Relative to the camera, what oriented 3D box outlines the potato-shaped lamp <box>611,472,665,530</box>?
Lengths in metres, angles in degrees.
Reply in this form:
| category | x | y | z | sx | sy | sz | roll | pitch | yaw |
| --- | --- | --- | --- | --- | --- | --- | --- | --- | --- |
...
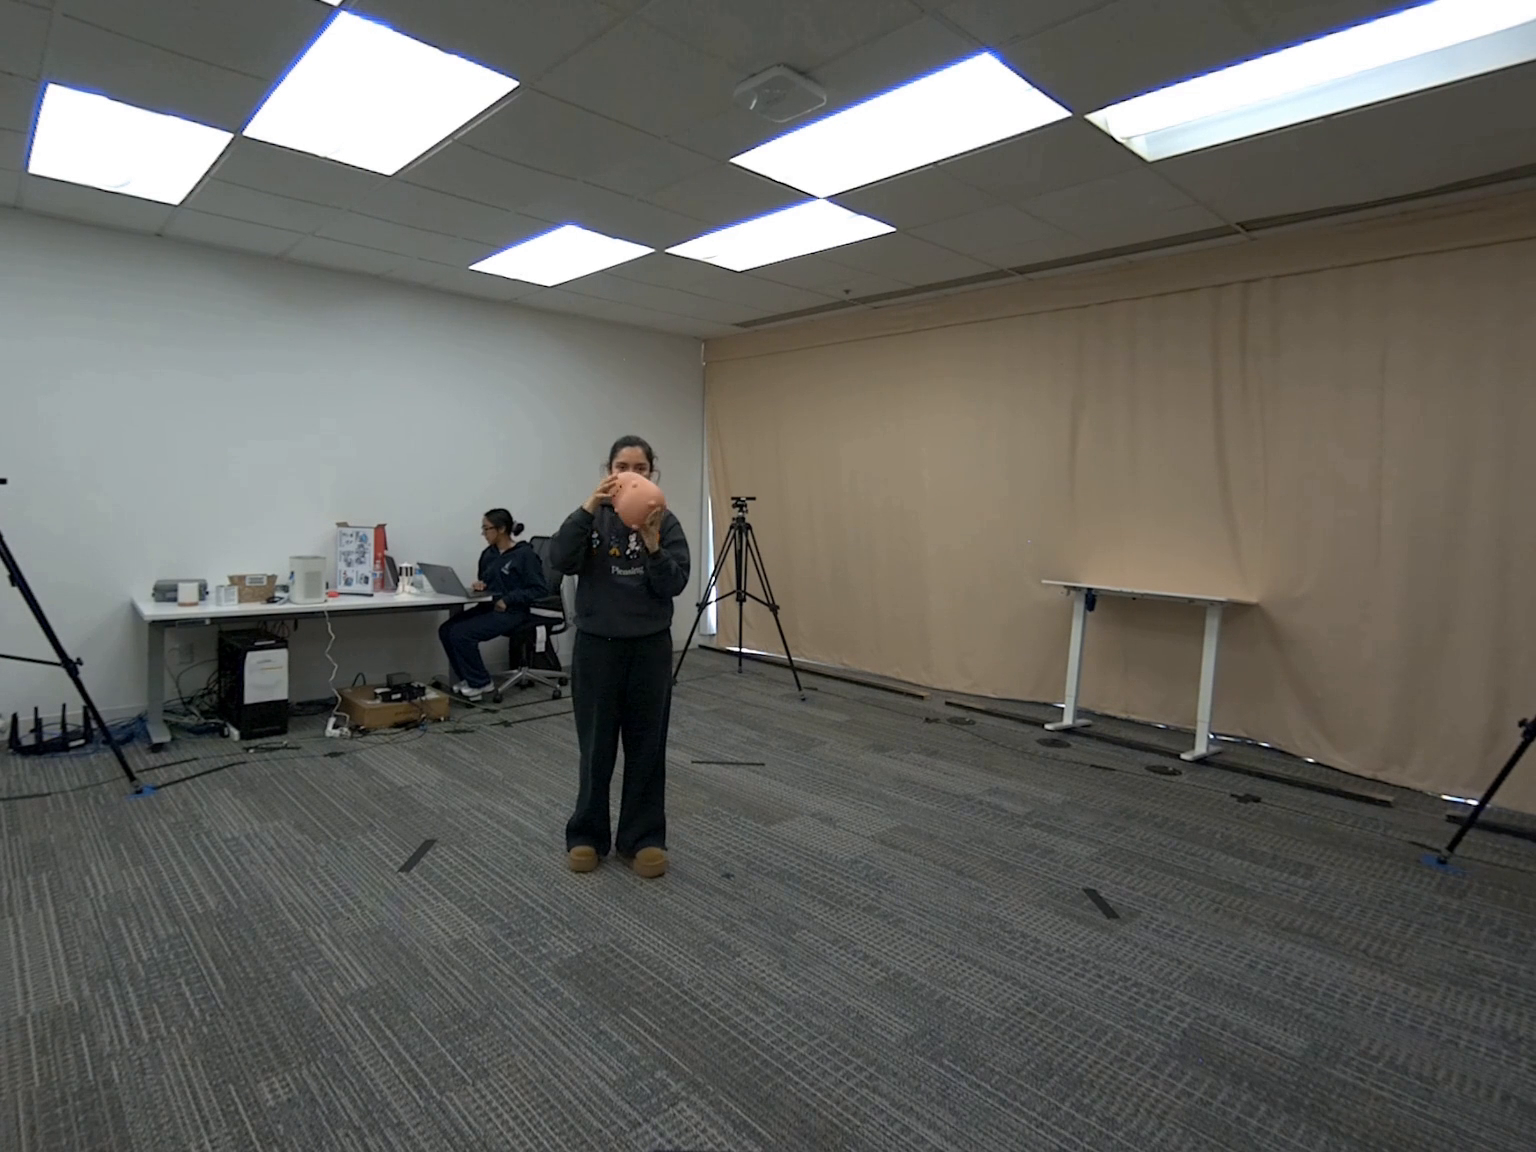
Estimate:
| category | x | y | z | sx | sy | sz | roll | pitch | yaw |
| --- | --- | --- | --- | --- | --- | --- | --- | --- | --- |
| potato-shaped lamp | -0.476 | -0.263 | 2.859 | 0.200 | 0.164 | 0.170 | 42 | 22 | 6 |
